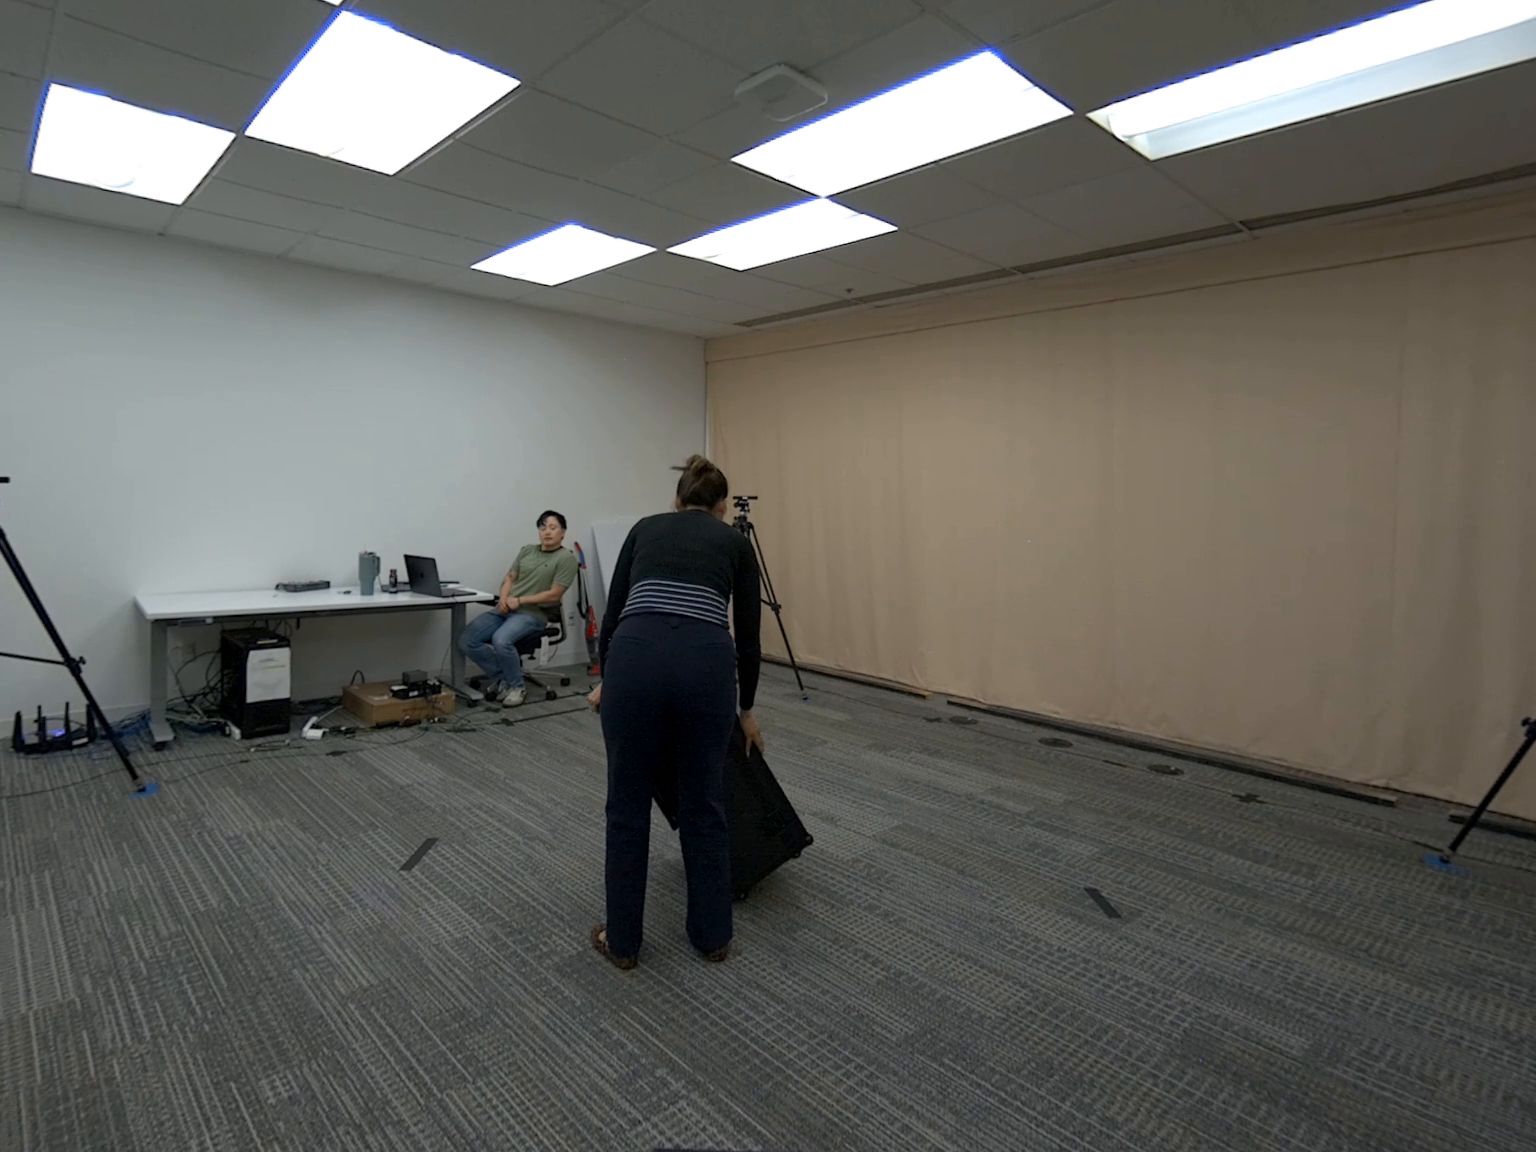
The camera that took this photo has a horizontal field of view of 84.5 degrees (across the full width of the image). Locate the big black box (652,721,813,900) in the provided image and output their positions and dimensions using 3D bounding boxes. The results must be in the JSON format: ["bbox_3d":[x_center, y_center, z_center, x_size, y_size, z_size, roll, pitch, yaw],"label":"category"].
[{"bbox_3d":[-0.279,0.644,2.996,0.395,0.851,0.530,-33,12,-14],"label":"big black box"}]
